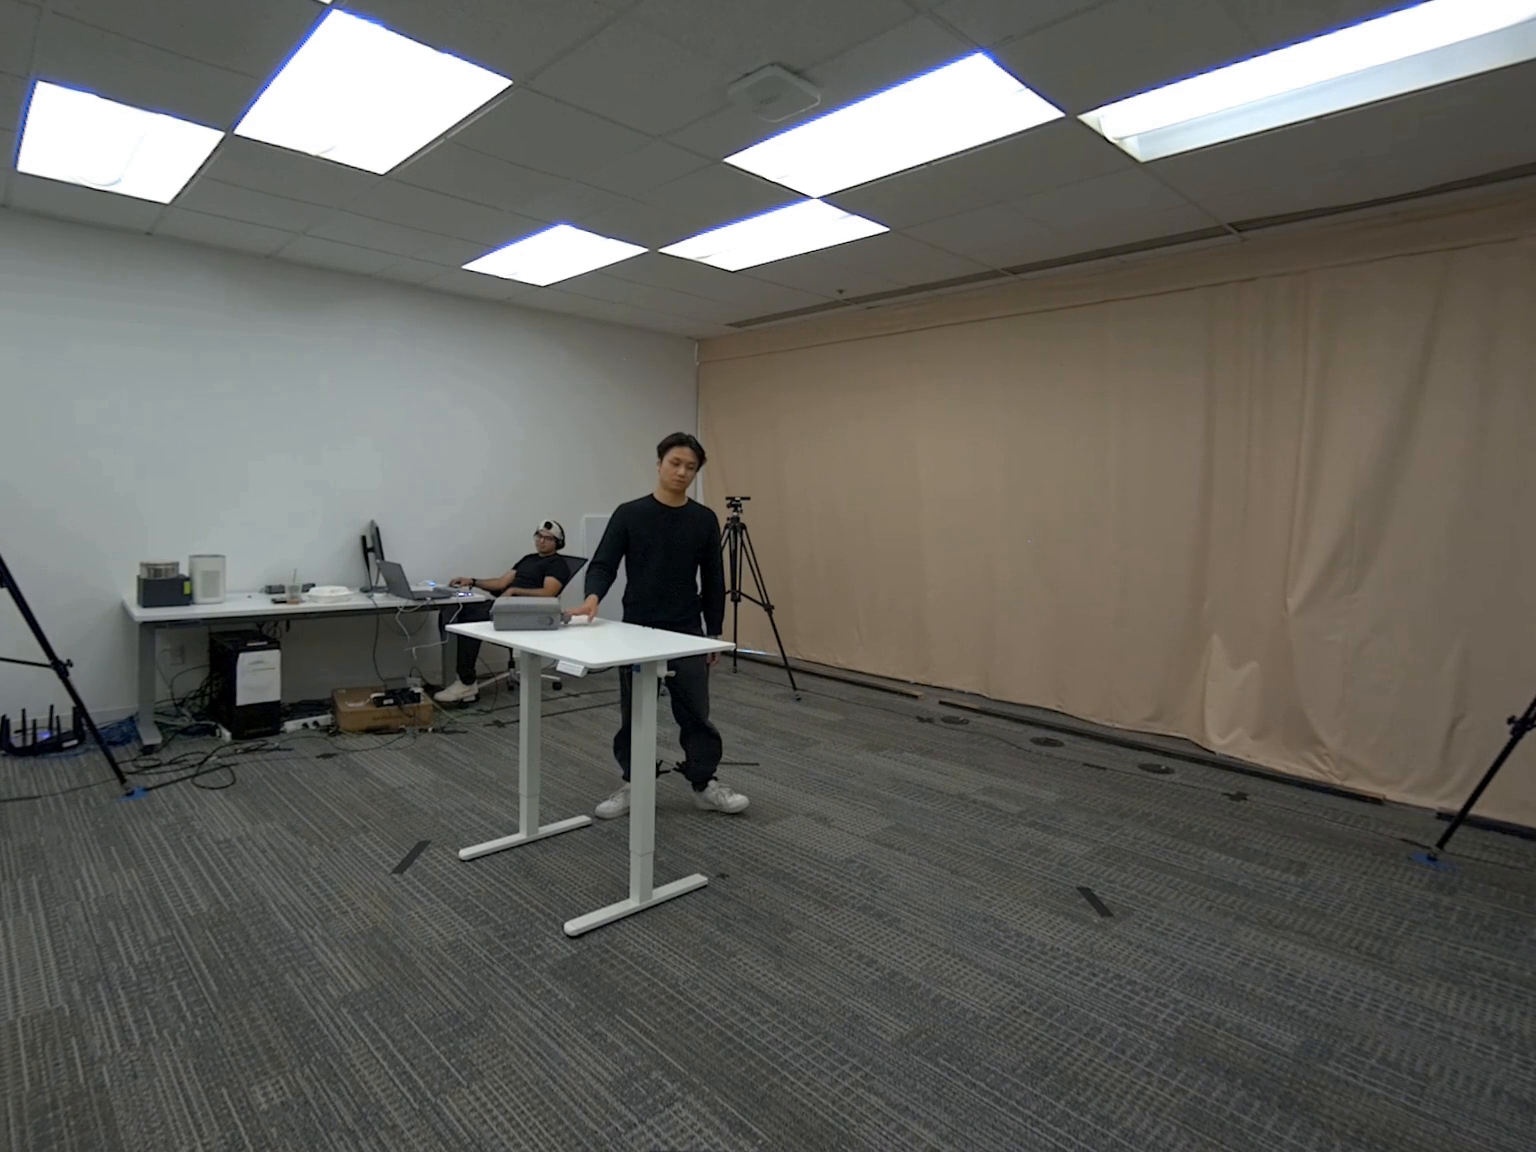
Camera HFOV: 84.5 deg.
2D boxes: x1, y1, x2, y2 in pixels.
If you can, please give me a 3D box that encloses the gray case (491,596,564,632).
[{"bbox_3d":[-0.938,0.141,3.256,0.257,0.104,0.260,0,4,-15],"label":"gray case"}]
